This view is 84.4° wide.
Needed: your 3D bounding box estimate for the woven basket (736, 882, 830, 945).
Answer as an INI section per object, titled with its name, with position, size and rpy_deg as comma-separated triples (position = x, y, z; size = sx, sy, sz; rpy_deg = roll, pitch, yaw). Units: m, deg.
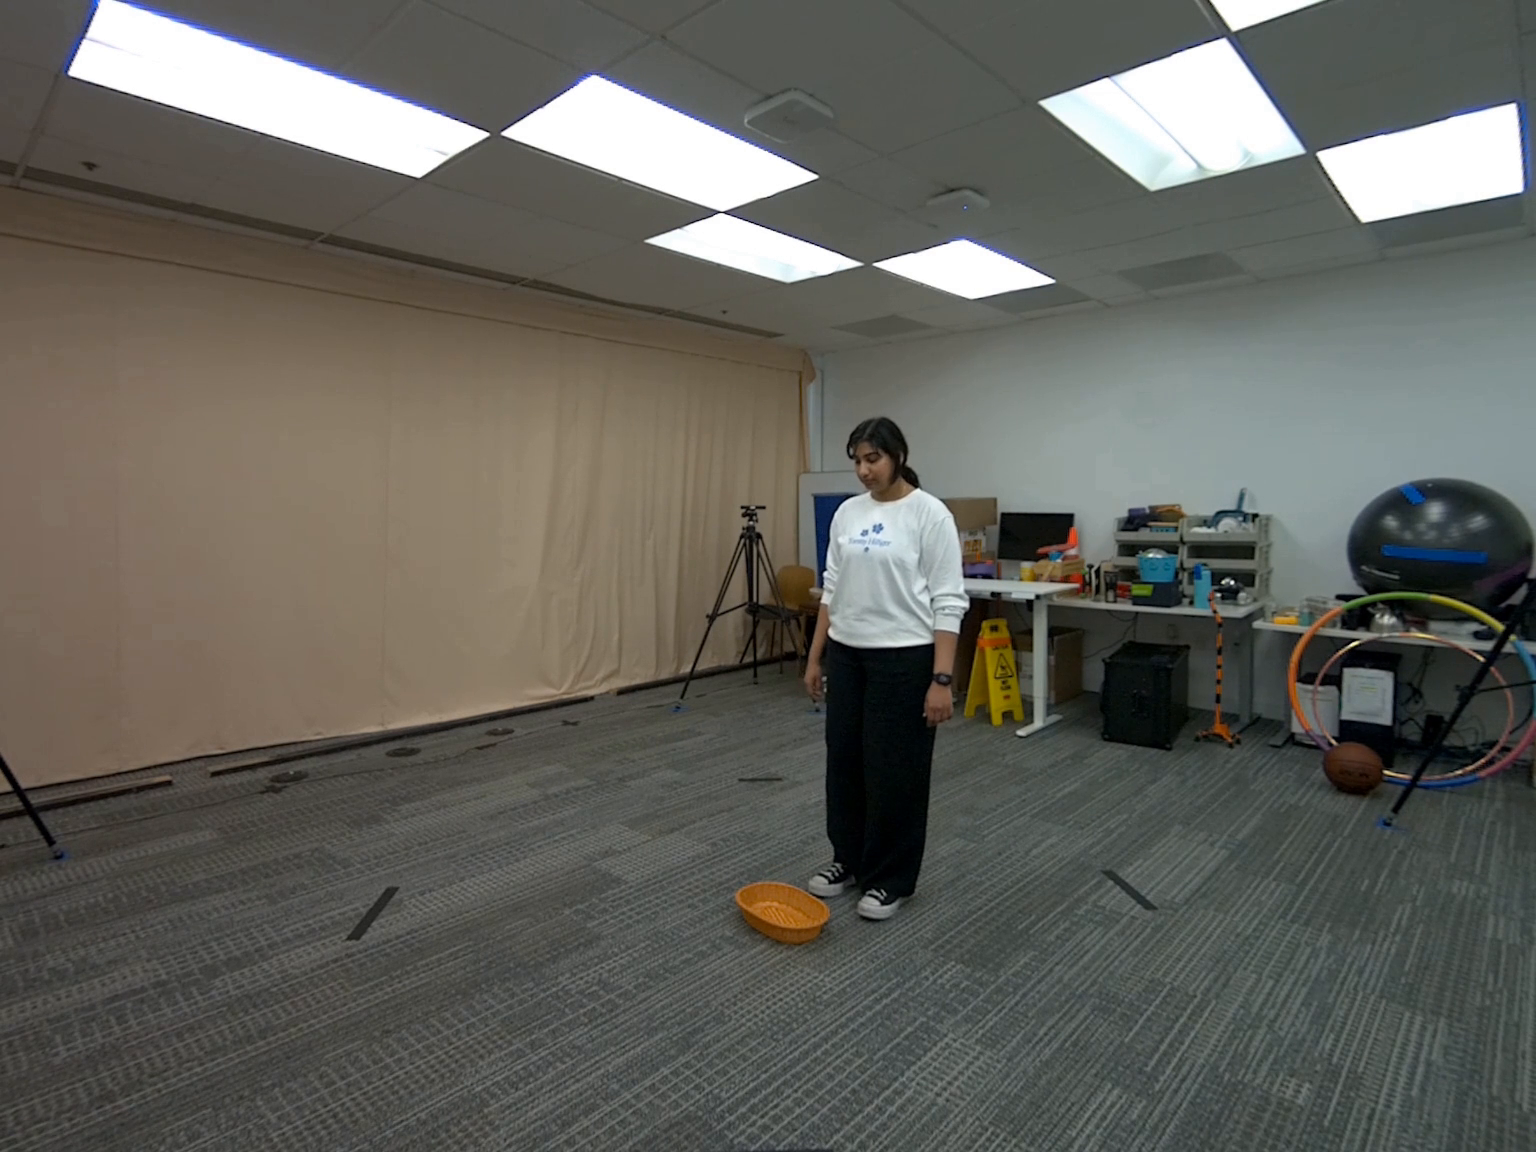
[woven basket]
position = 0.056, 1.116, 2.808
size = 0.245, 0.073, 0.362
rpy_deg = -2, 6, -36
